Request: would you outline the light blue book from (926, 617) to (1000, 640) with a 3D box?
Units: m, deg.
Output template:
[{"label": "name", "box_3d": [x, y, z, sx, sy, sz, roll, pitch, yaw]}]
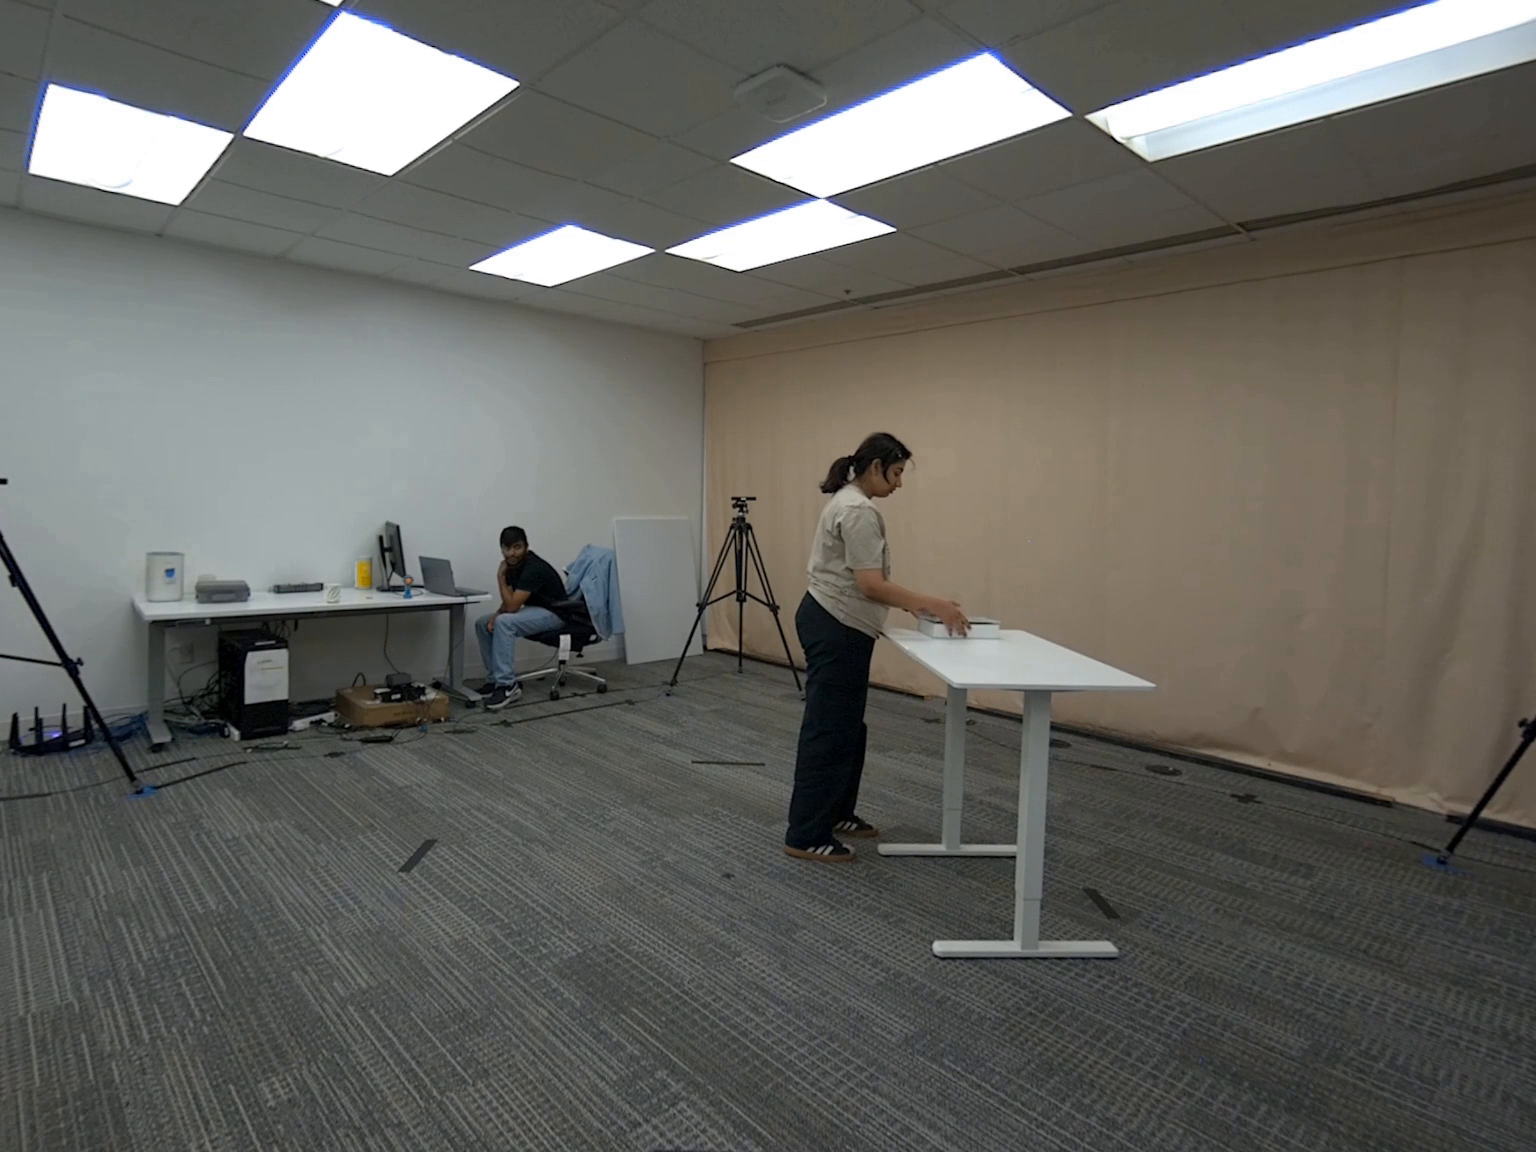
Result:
[{"label": "light blue book", "box_3d": [0.789, 0.199, 3.311, 0.190, 0.059, 0.262, 1, 2, -7]}]
